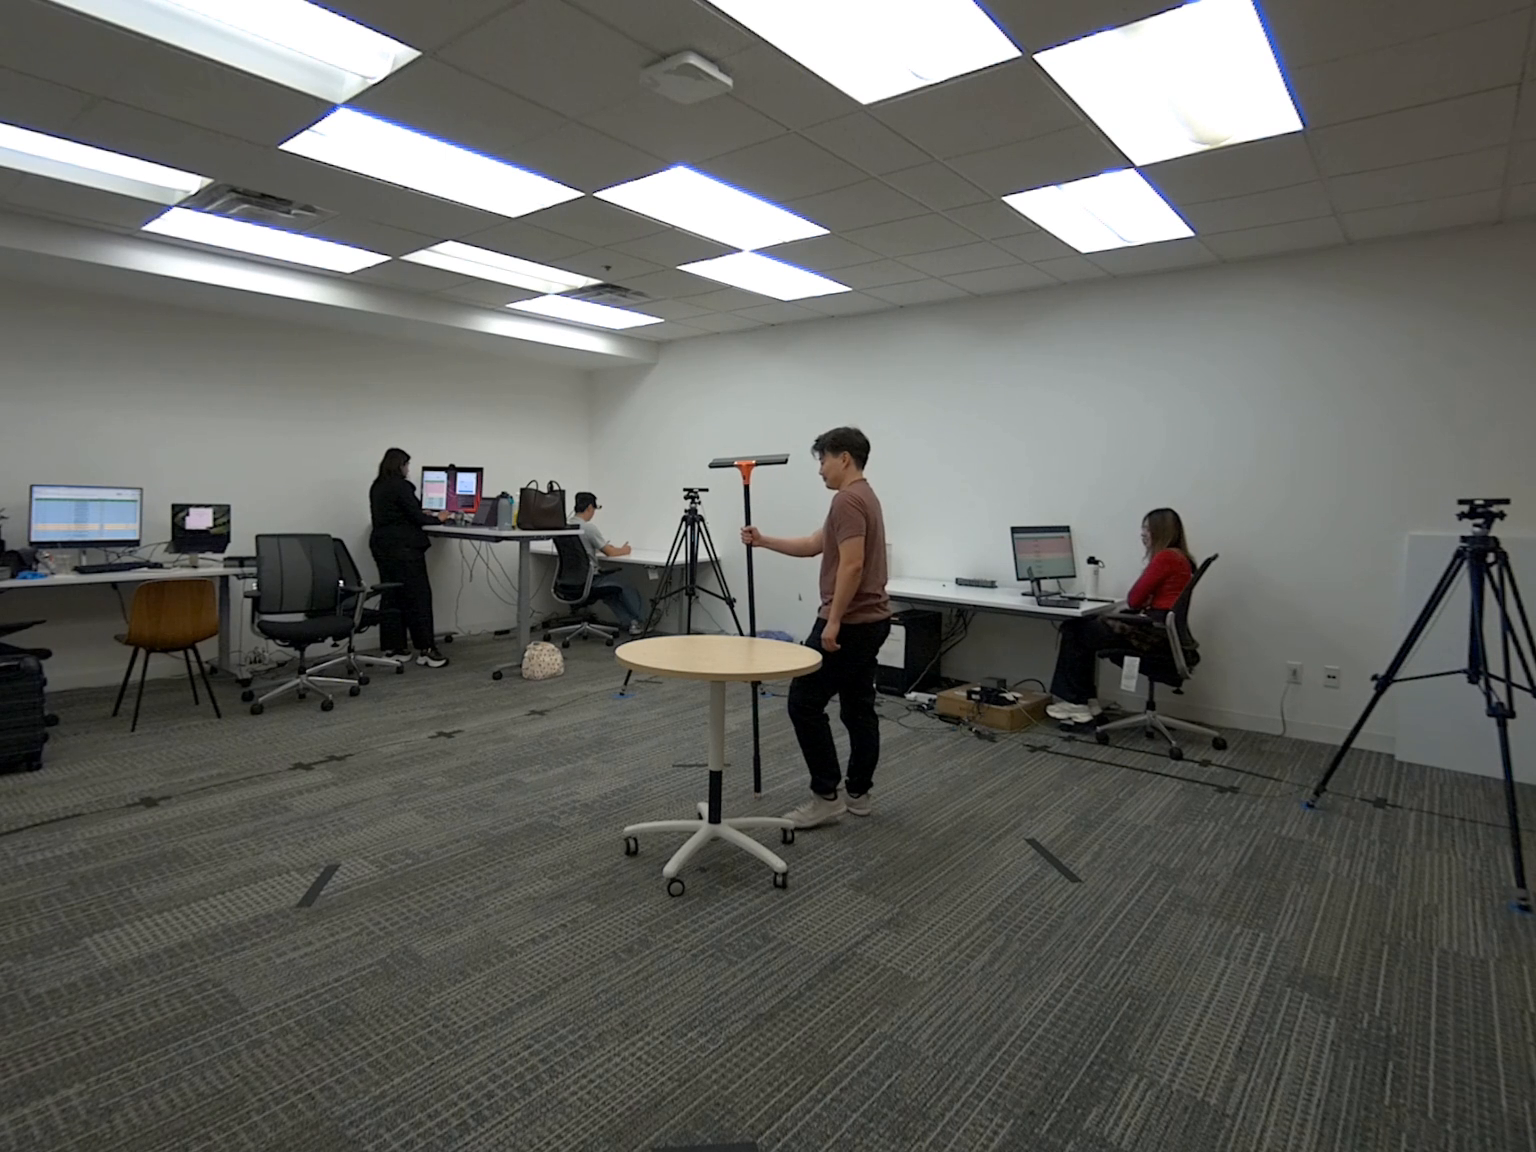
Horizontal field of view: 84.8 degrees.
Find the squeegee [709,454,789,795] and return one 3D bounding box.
[{"bbox_3d":[-0.082,0.230,3.811,0.451,1.535,0.051,0,2,40],"label":"squeegee"}]
